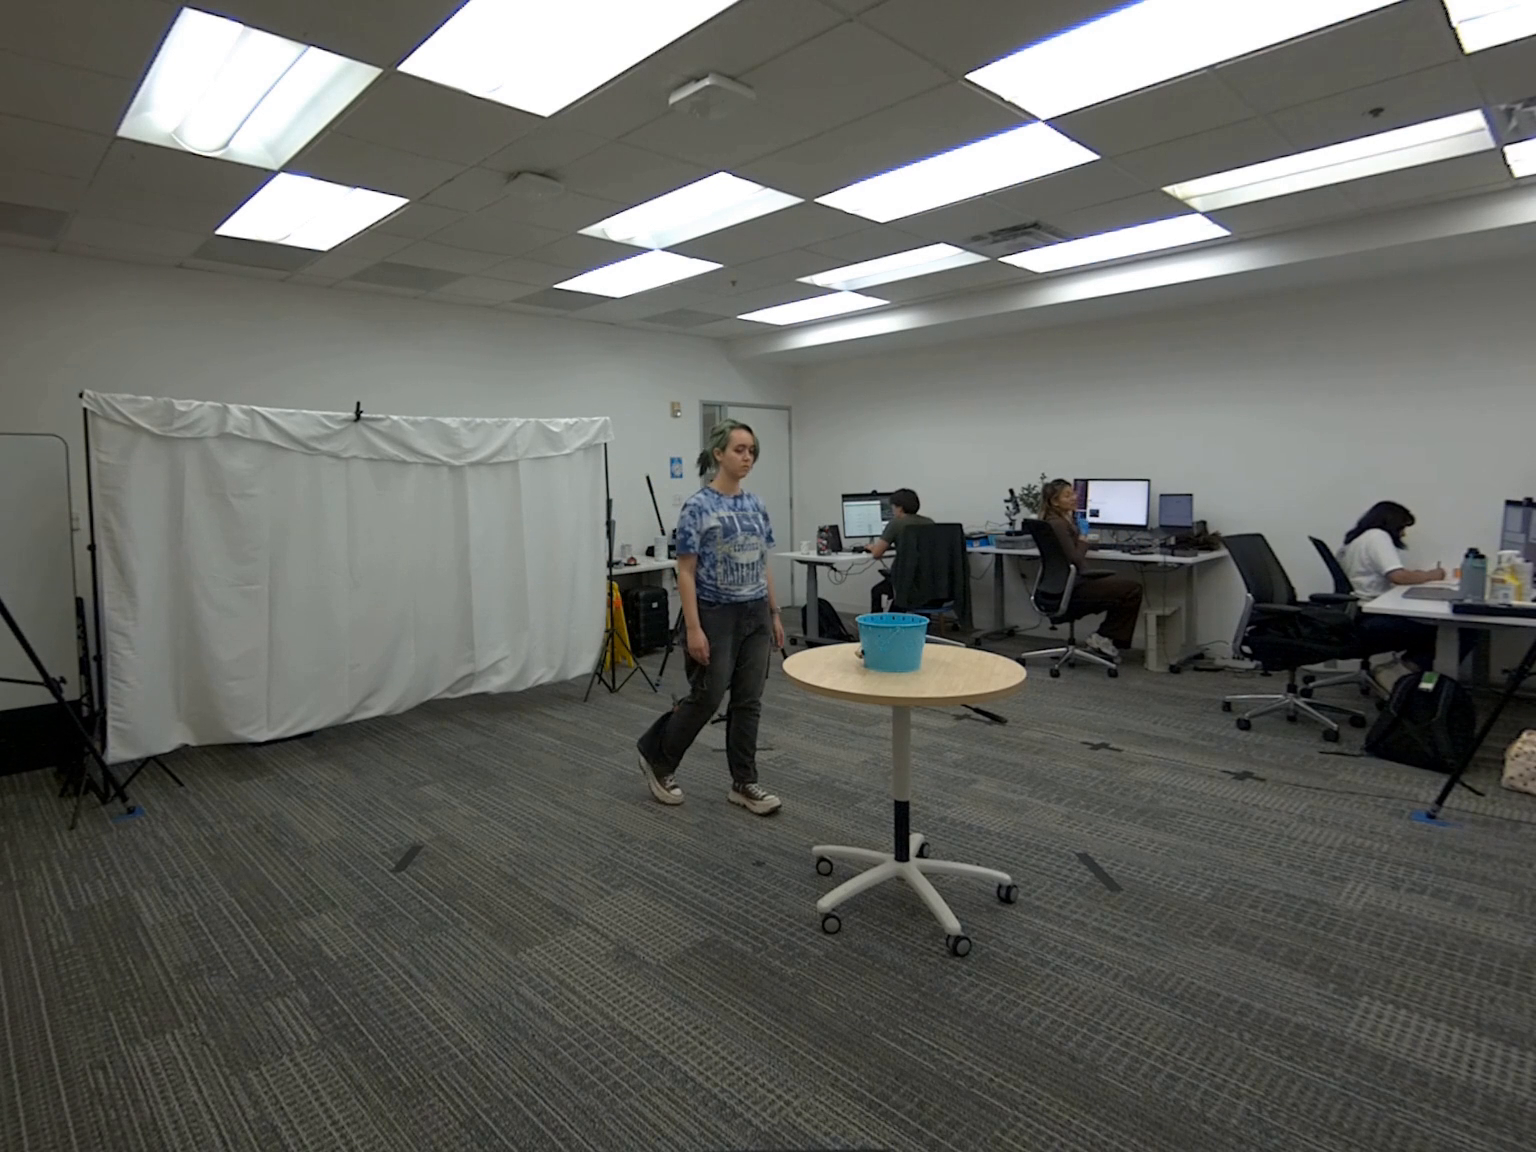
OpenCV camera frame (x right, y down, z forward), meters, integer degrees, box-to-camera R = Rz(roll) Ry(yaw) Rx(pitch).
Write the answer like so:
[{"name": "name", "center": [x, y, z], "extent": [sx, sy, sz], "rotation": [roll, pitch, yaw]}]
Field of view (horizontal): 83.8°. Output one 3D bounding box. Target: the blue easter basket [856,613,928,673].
[{"name": "blue easter basket", "center": [0.408, 0.218, 2.761], "extent": [0.243, 0.155, 0.245], "rotation": [0, 6, -2]}]
